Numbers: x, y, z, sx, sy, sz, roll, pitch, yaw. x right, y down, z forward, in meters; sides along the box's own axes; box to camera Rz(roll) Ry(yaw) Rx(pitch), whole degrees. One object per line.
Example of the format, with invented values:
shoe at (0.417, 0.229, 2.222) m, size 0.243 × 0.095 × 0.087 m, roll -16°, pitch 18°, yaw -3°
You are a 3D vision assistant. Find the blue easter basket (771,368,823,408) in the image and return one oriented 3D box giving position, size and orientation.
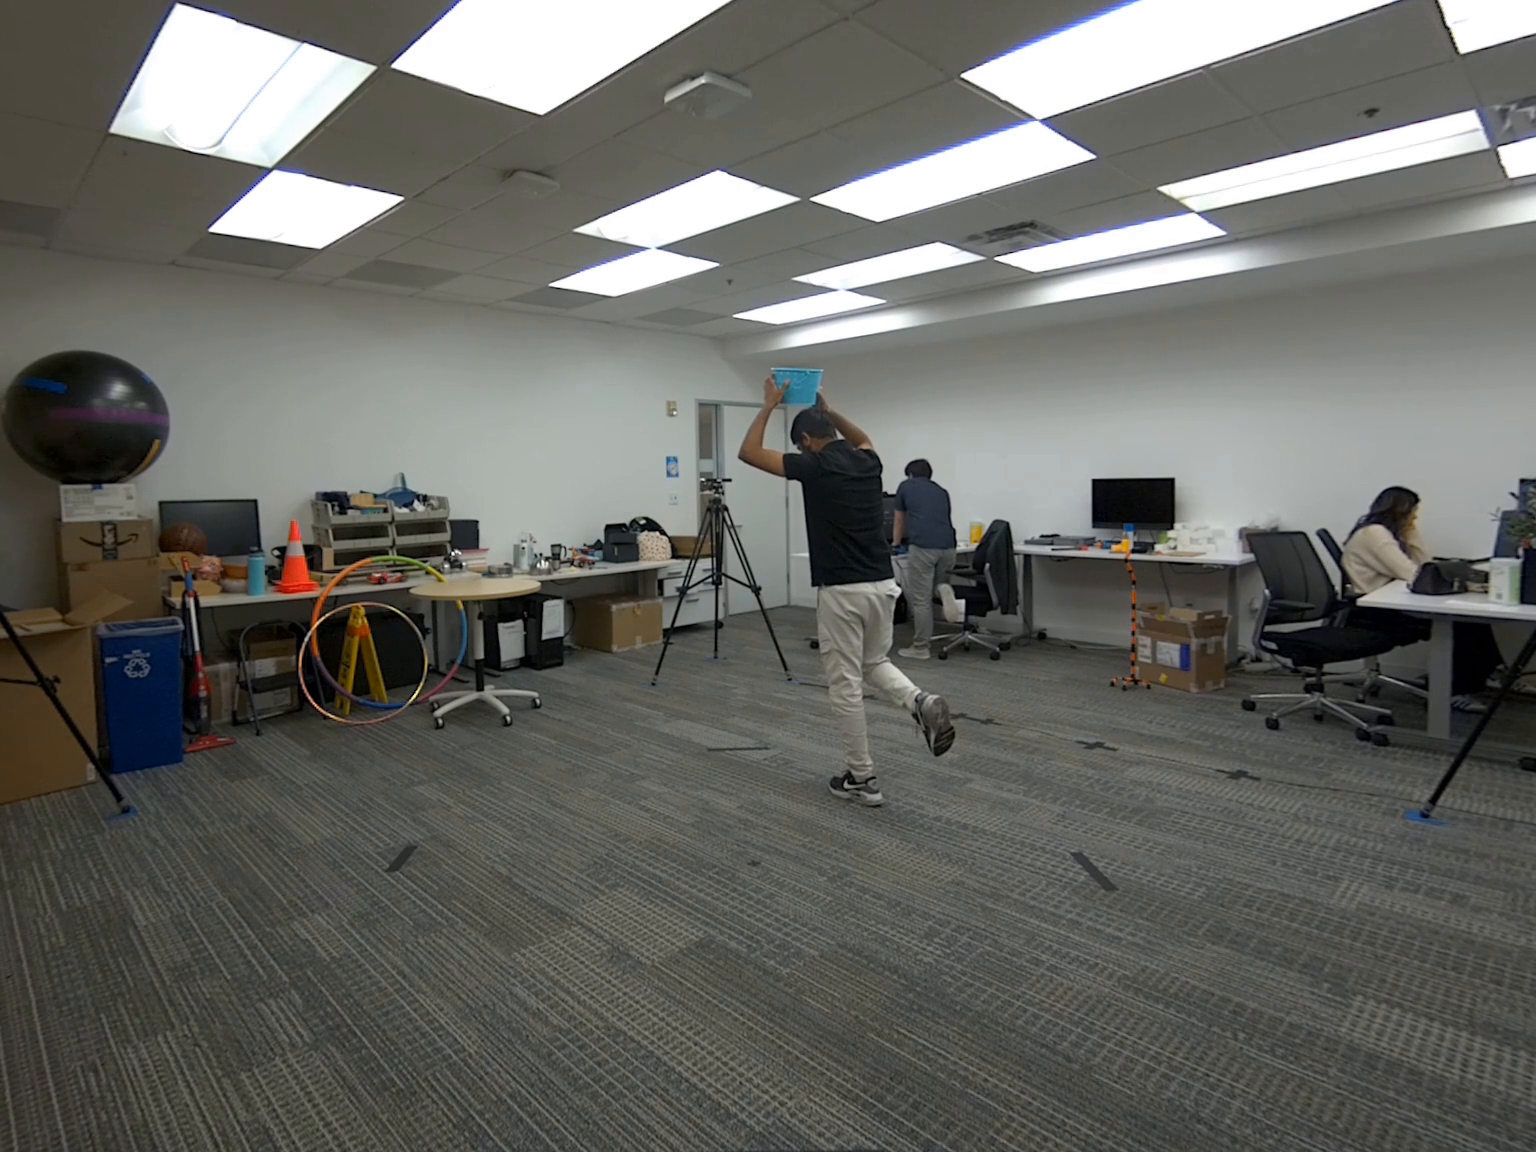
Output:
blue easter basket at (0.132, -0.860, 3.860) m, size 0.243 × 0.154 × 0.247 m, roll 1°, pitch 14°, yaw -2°
